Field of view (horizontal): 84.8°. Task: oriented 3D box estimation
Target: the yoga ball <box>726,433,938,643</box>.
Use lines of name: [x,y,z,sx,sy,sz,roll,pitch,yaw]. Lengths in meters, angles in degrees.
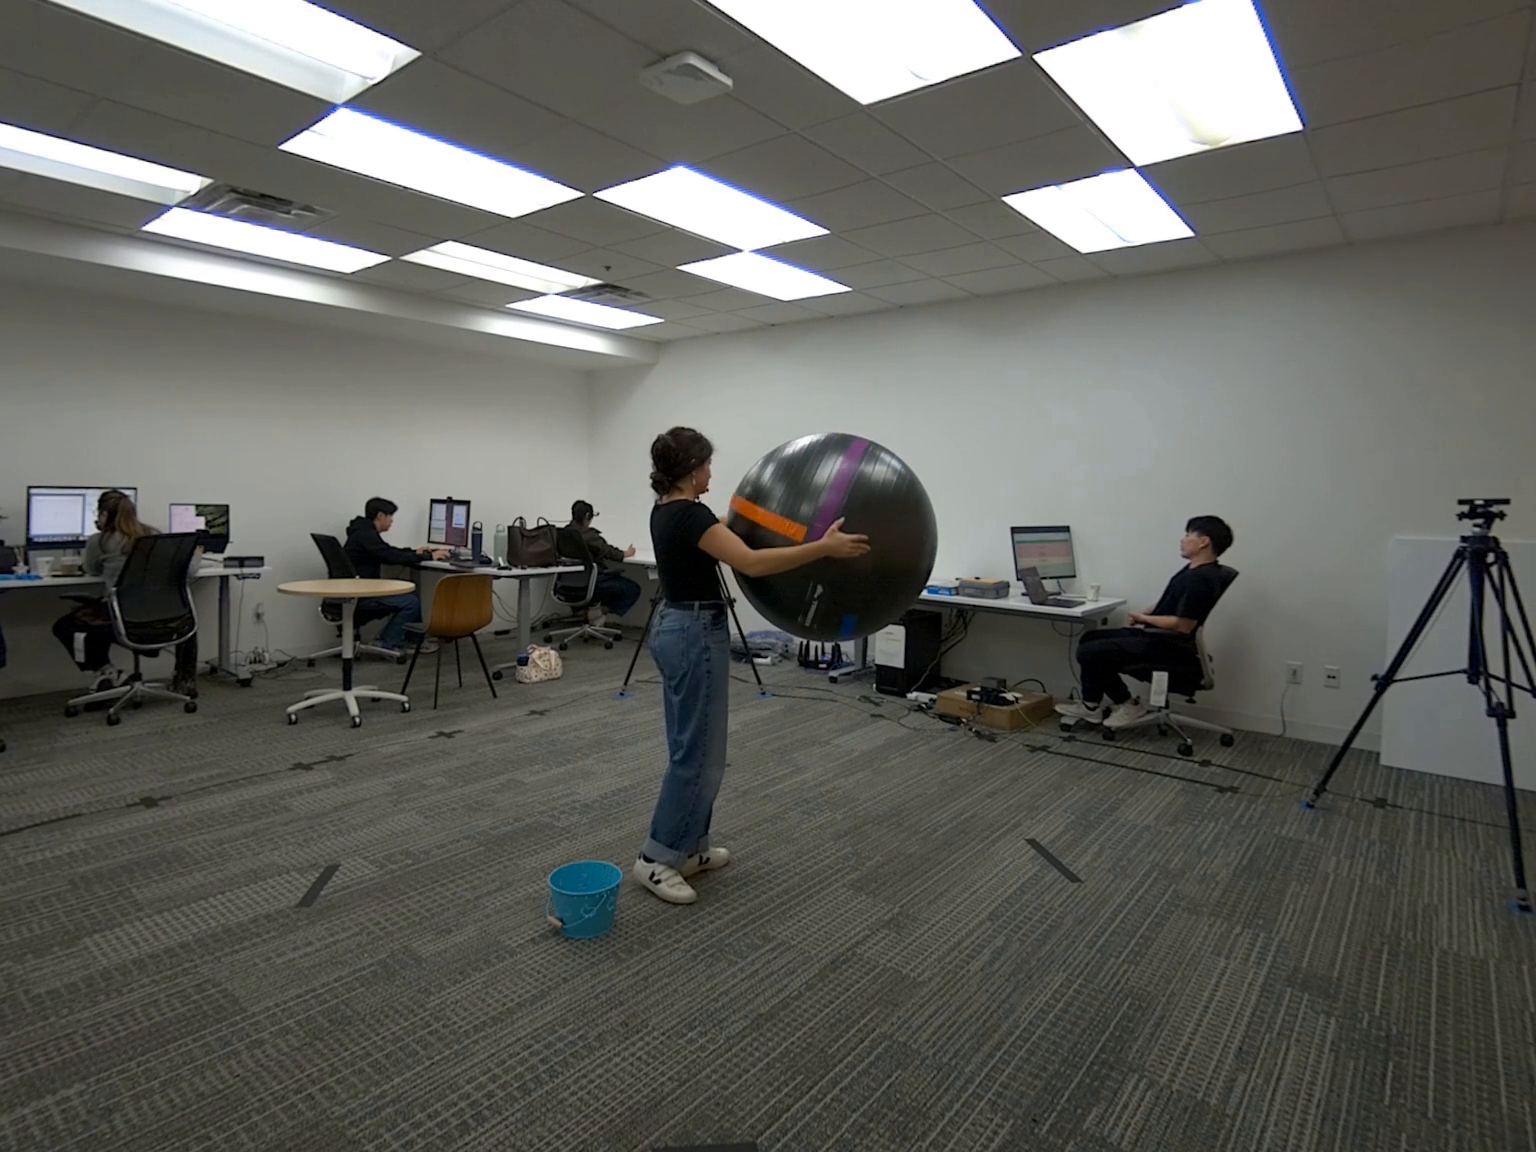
yoga ball: [0.223,-0.145,3.092,0.757,0.755,0.762,1,4,-2]
